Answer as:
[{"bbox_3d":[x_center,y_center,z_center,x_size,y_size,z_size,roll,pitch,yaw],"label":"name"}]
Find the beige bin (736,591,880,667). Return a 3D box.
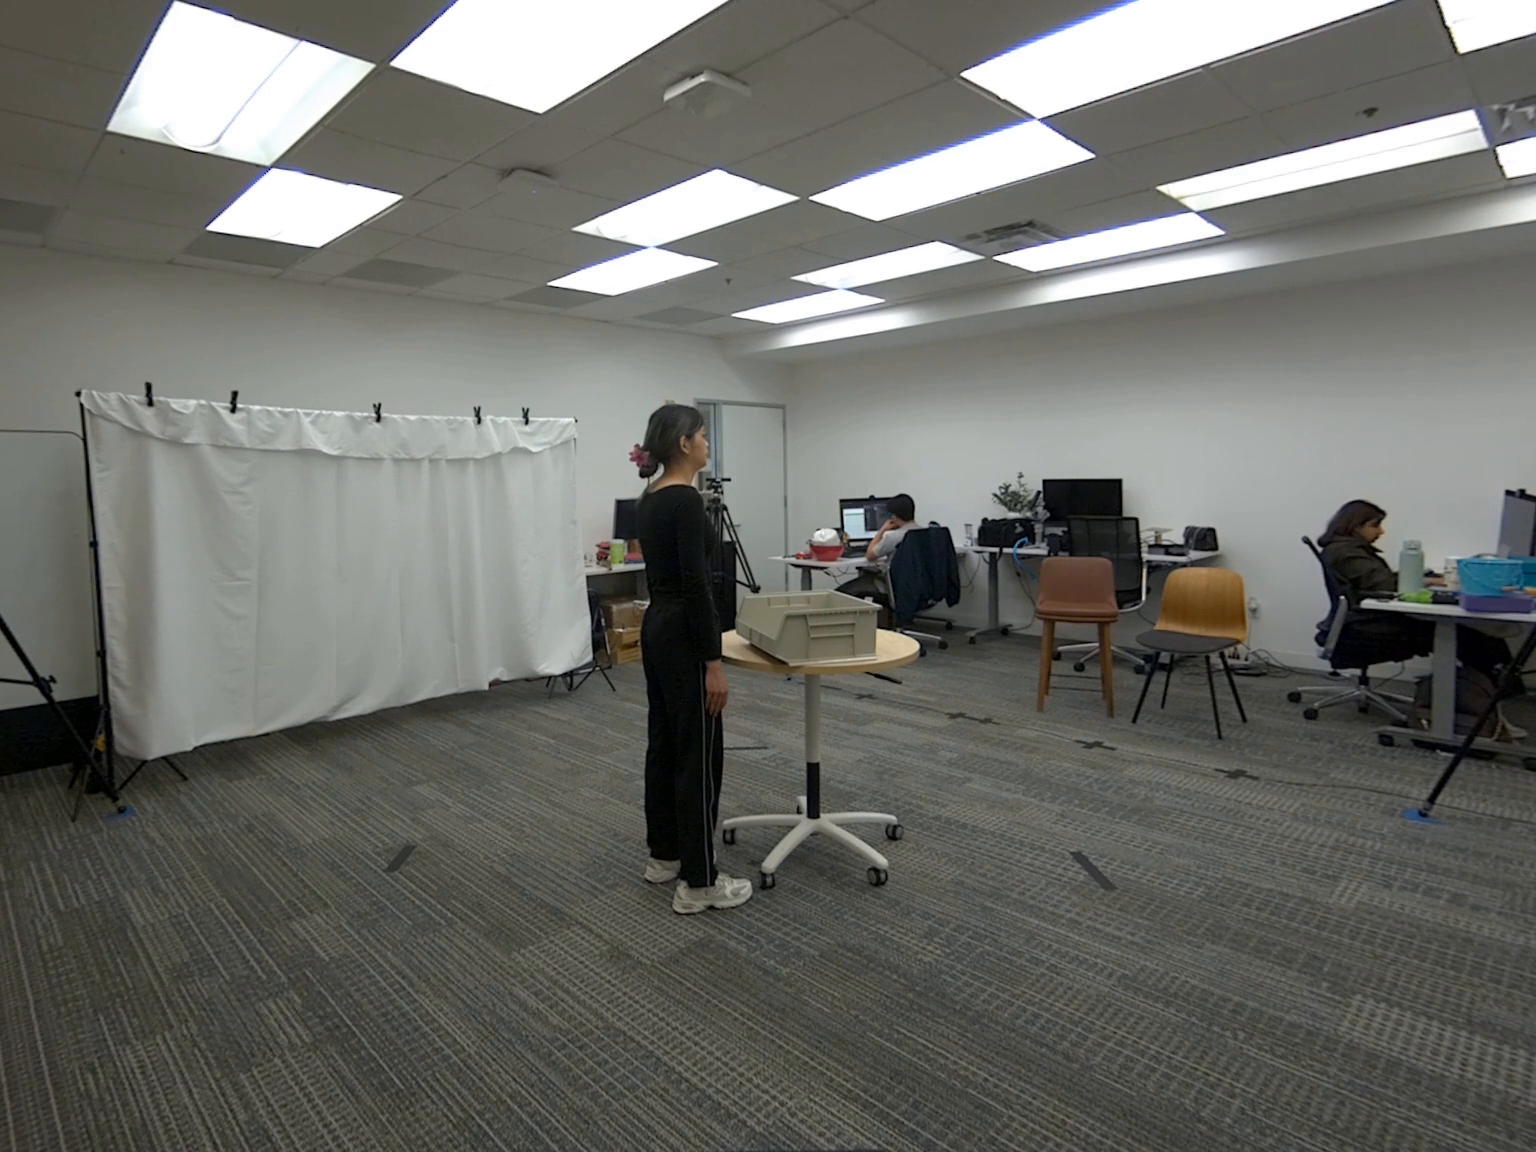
[{"bbox_3d":[0.126,0.171,2.960,0.371,0.188,0.431,-2,6,-18],"label":"beige bin"}]
